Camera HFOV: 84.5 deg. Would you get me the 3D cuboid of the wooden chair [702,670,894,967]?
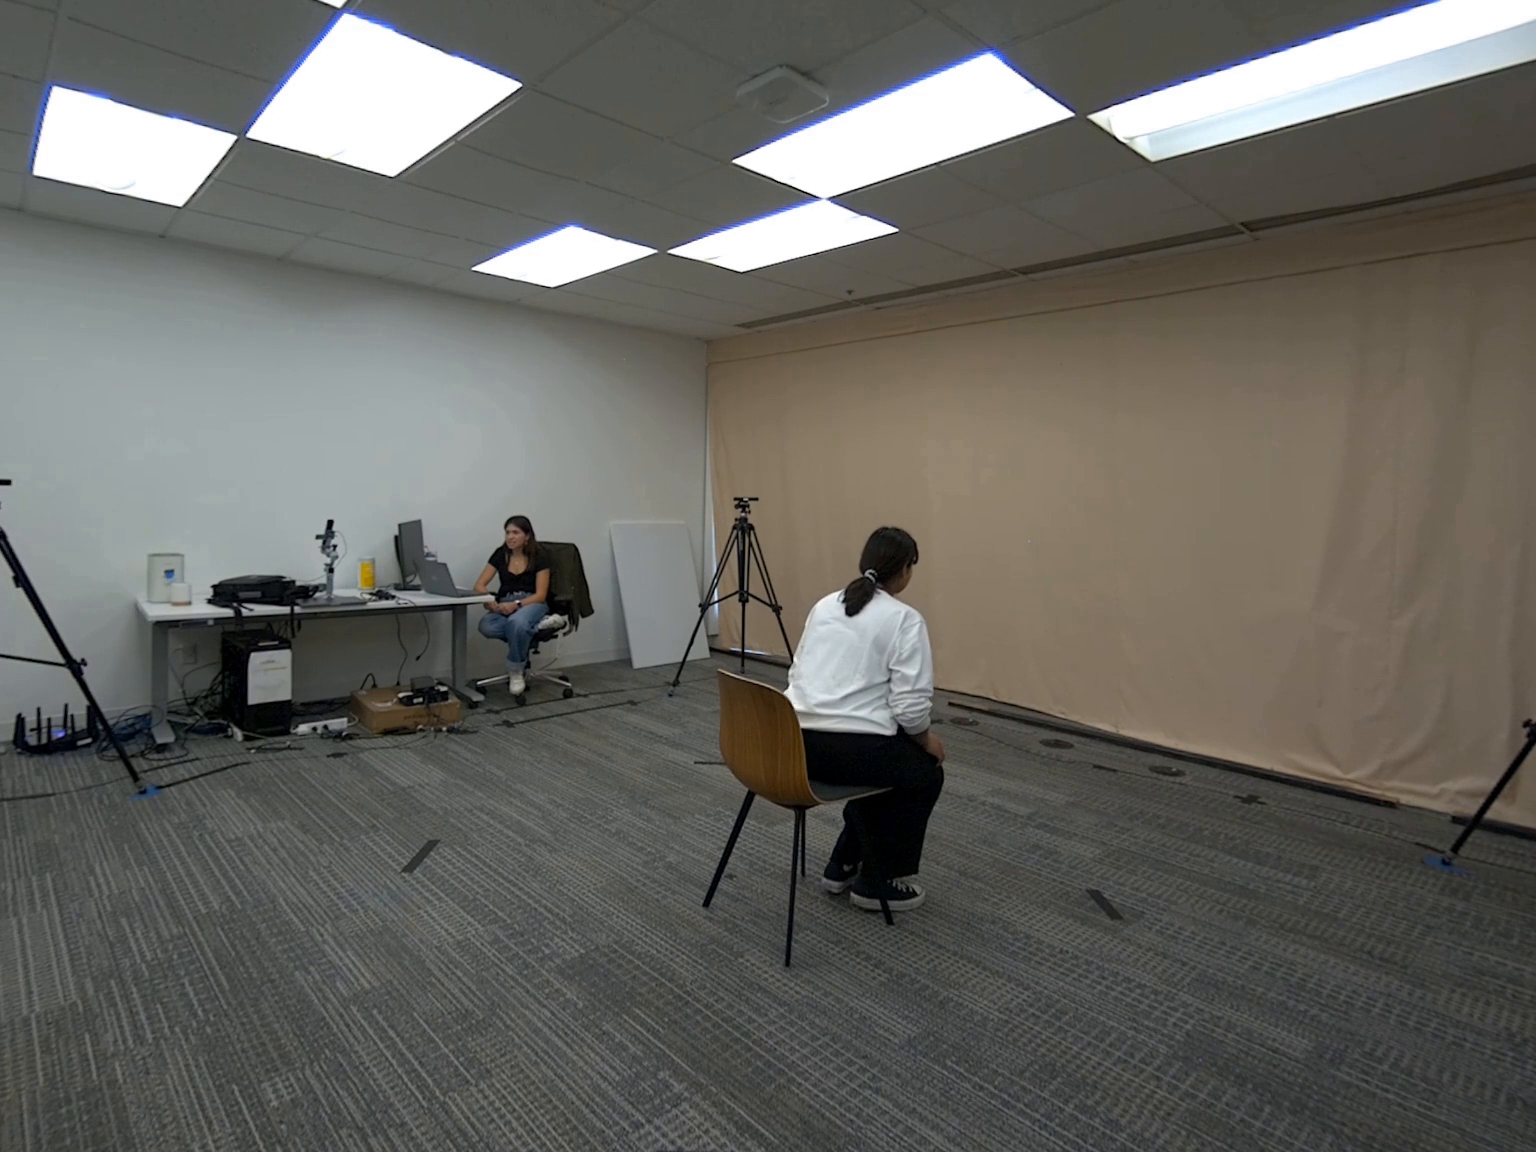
[{"bbox_3d":[0.104,0.712,2.797,0.512,0.874,0.490,-6,7,-37],"label":"wooden chair"}]
